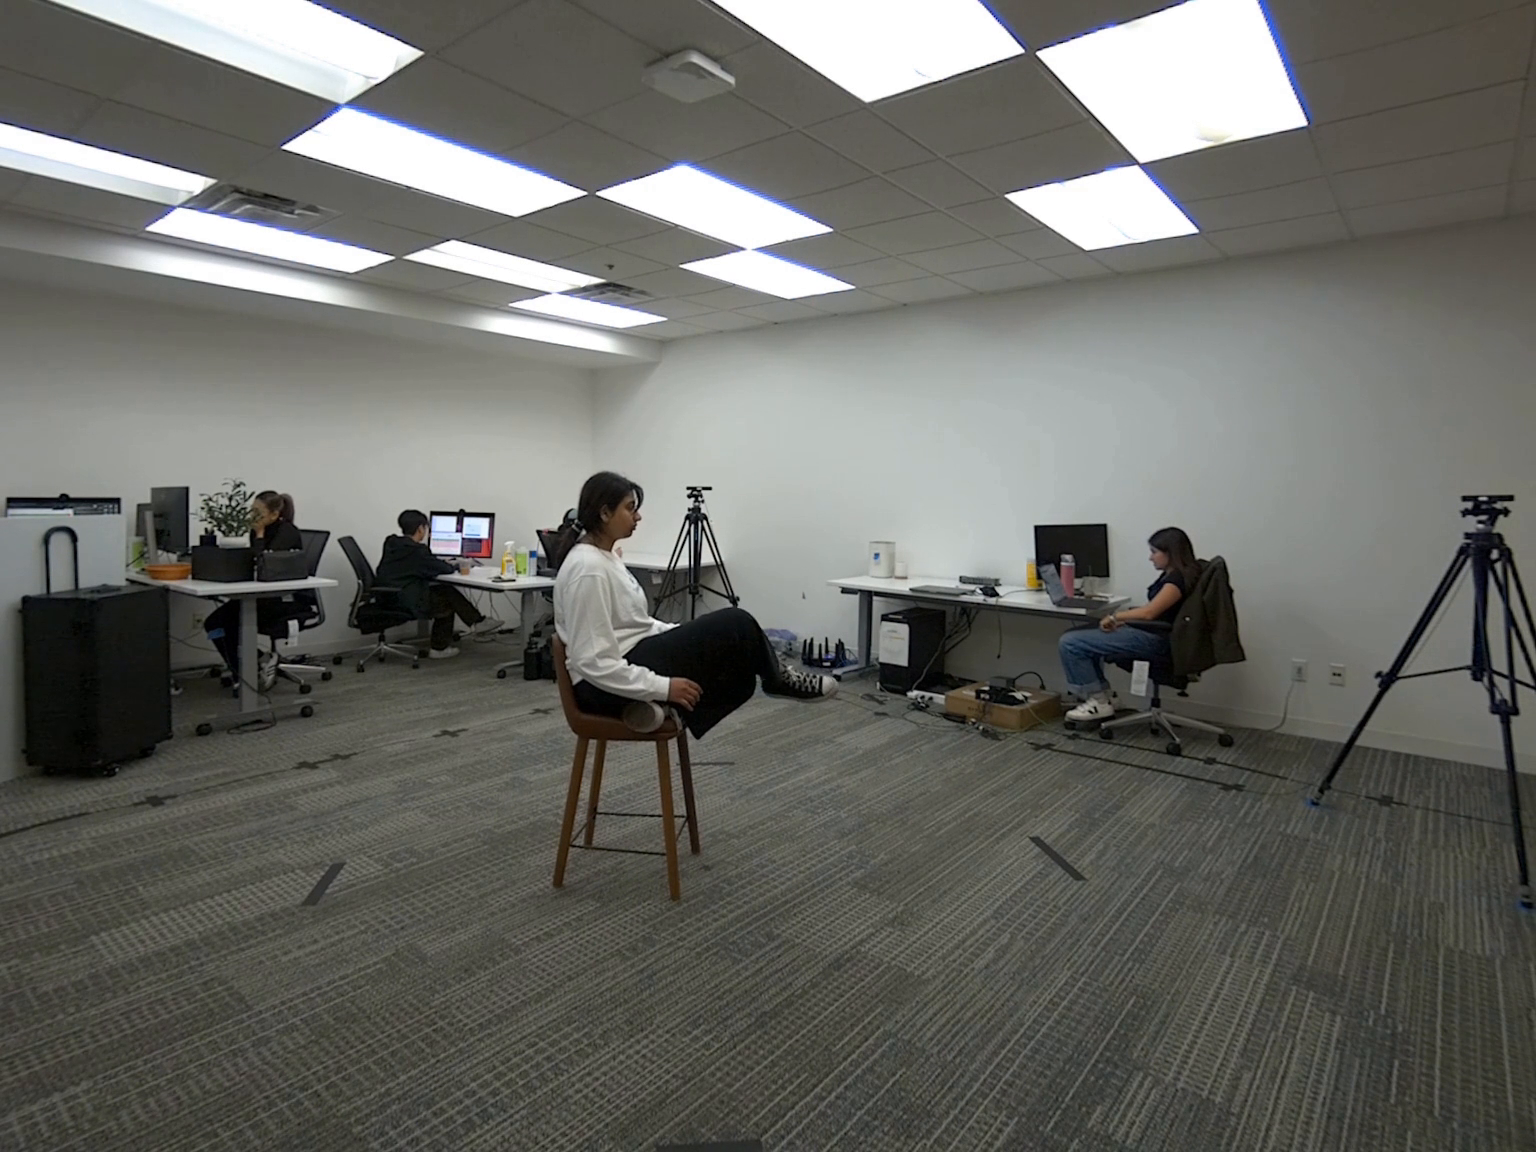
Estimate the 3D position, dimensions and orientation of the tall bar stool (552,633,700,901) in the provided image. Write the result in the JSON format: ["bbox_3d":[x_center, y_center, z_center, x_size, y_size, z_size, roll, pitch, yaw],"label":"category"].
[{"bbox_3d":[-0.508,0.635,3.073,0.472,0.887,0.453,-1,3,9],"label":"tall bar stool"}]
